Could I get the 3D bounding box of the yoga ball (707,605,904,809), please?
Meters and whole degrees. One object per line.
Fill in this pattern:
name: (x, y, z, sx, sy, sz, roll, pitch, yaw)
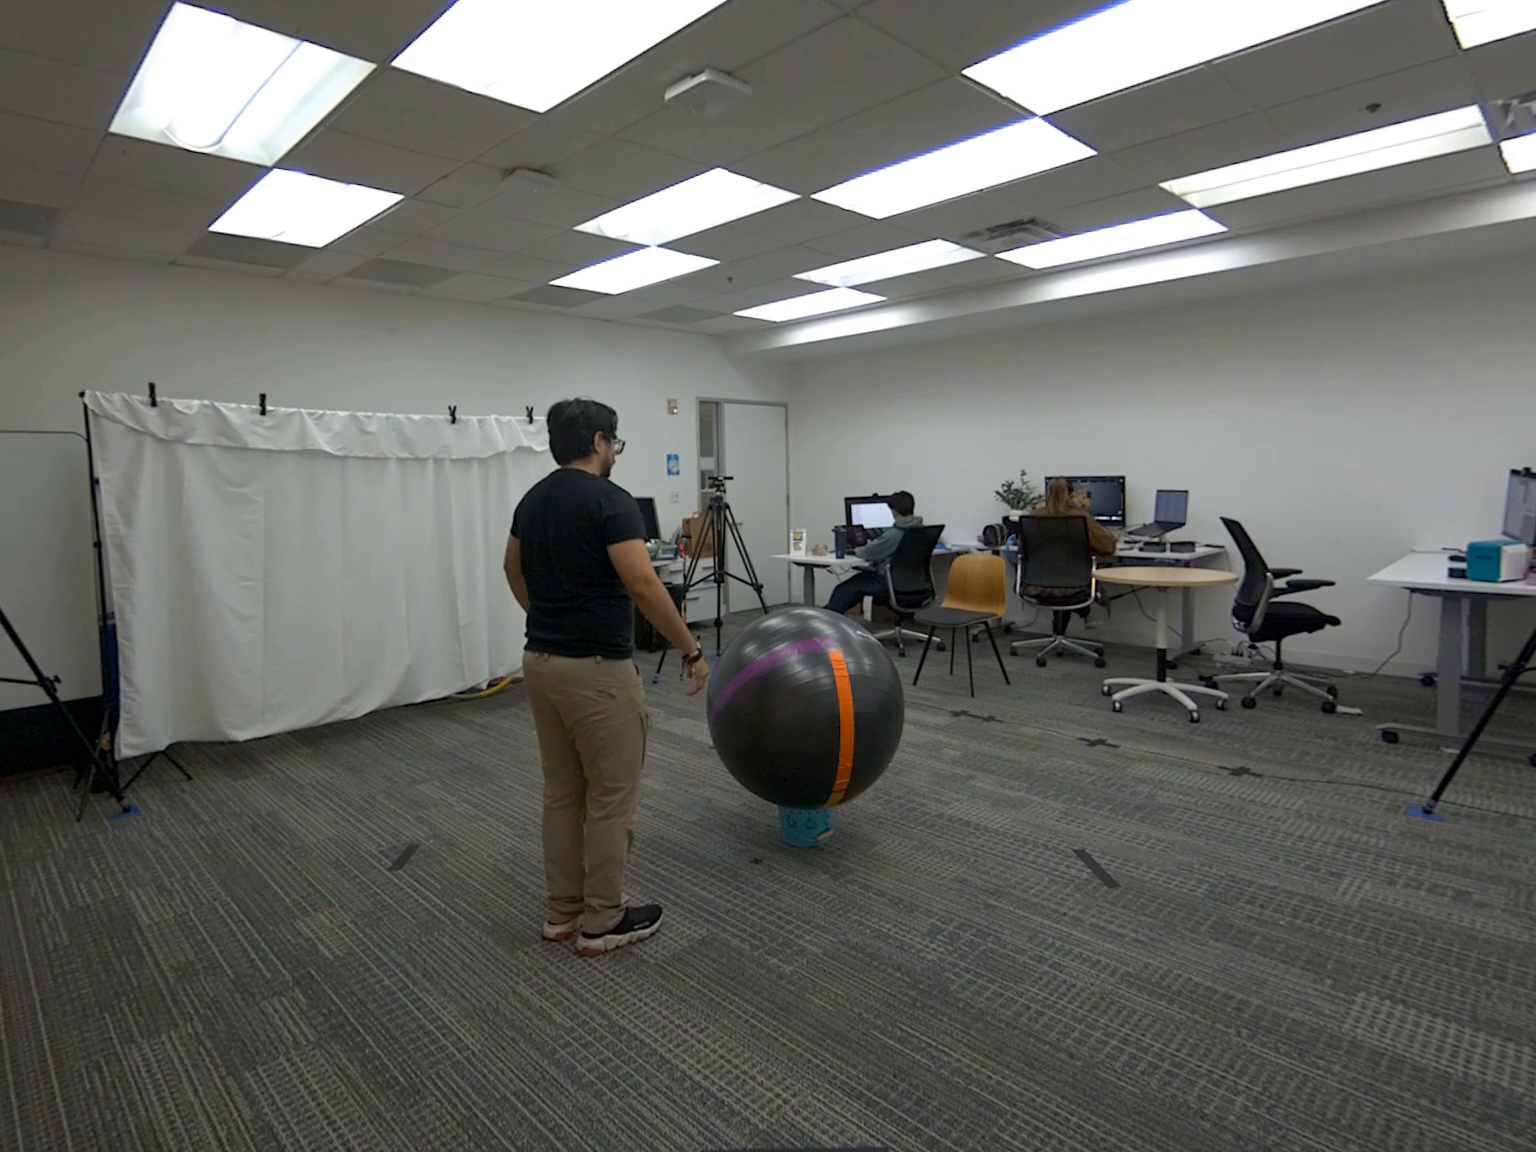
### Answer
yoga ball: (0.141, 0.501, 3.284, 0.757, 0.755, 0.762, -1, 5, -2)
